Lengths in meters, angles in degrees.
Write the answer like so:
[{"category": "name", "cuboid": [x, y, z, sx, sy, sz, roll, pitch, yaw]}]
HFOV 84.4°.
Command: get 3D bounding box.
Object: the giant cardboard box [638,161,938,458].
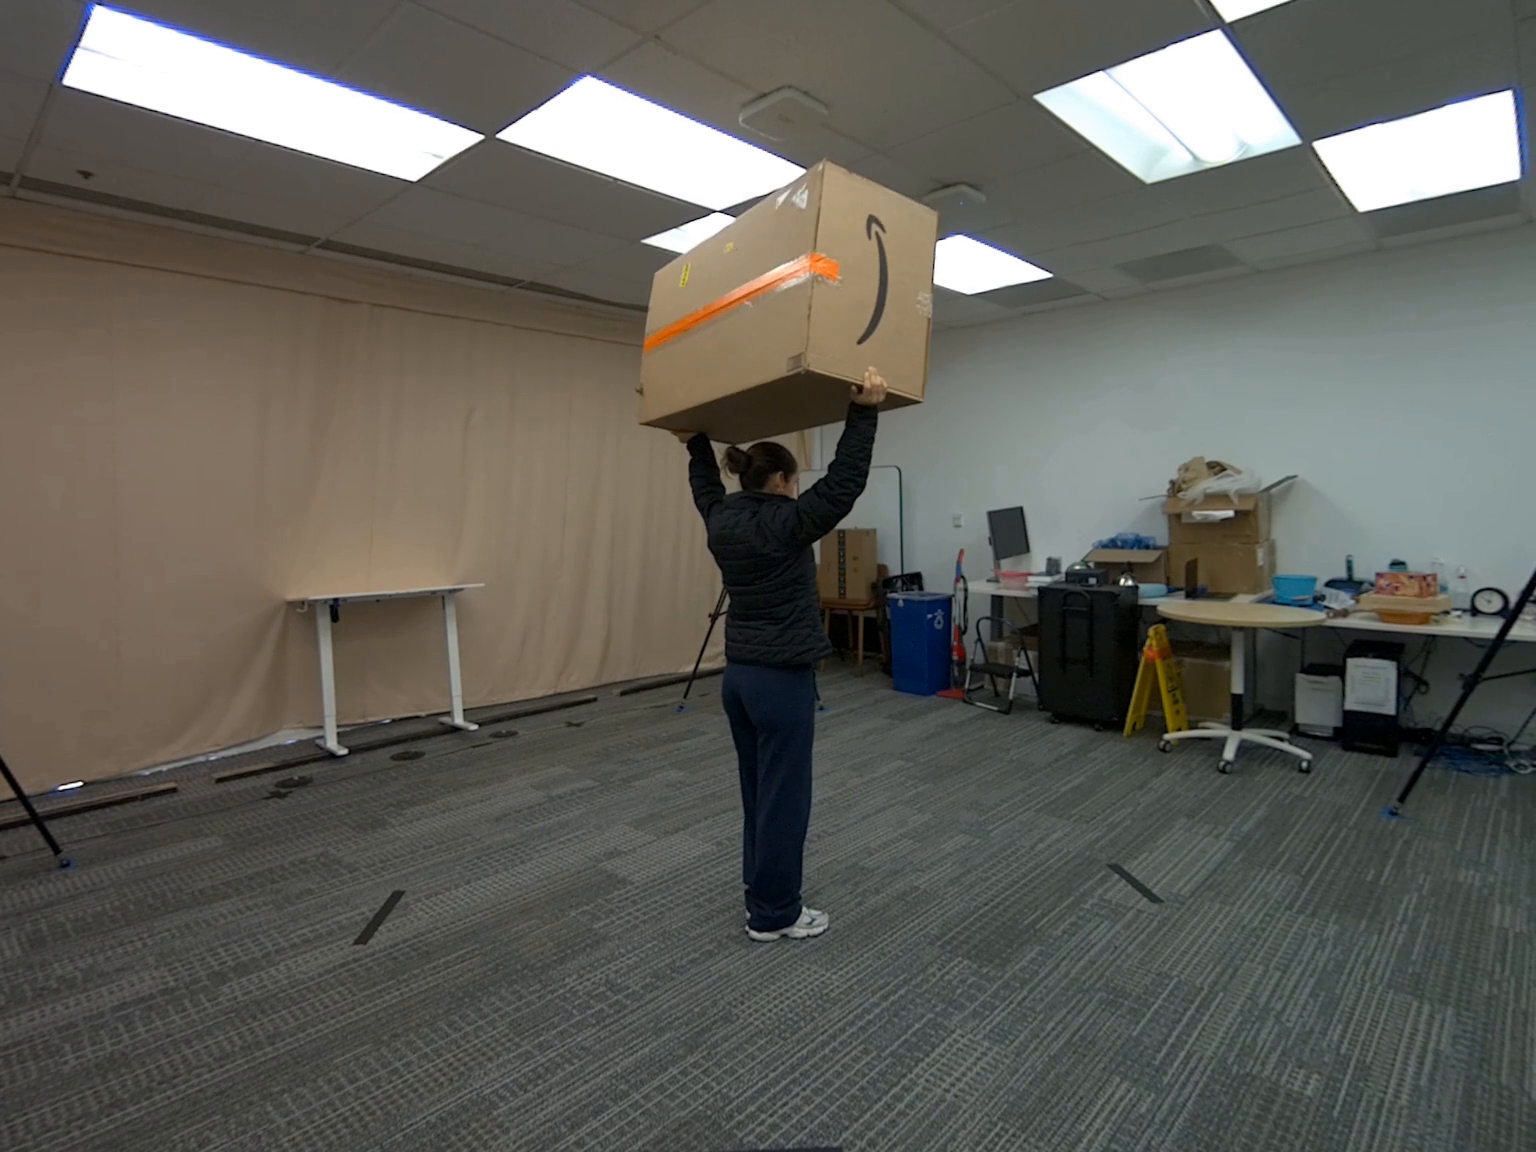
[{"category": "giant cardboard box", "cuboid": [0.023, -0.797, 2.744, 0.433, 0.585, 1.057, 7, -4, -33]}]
